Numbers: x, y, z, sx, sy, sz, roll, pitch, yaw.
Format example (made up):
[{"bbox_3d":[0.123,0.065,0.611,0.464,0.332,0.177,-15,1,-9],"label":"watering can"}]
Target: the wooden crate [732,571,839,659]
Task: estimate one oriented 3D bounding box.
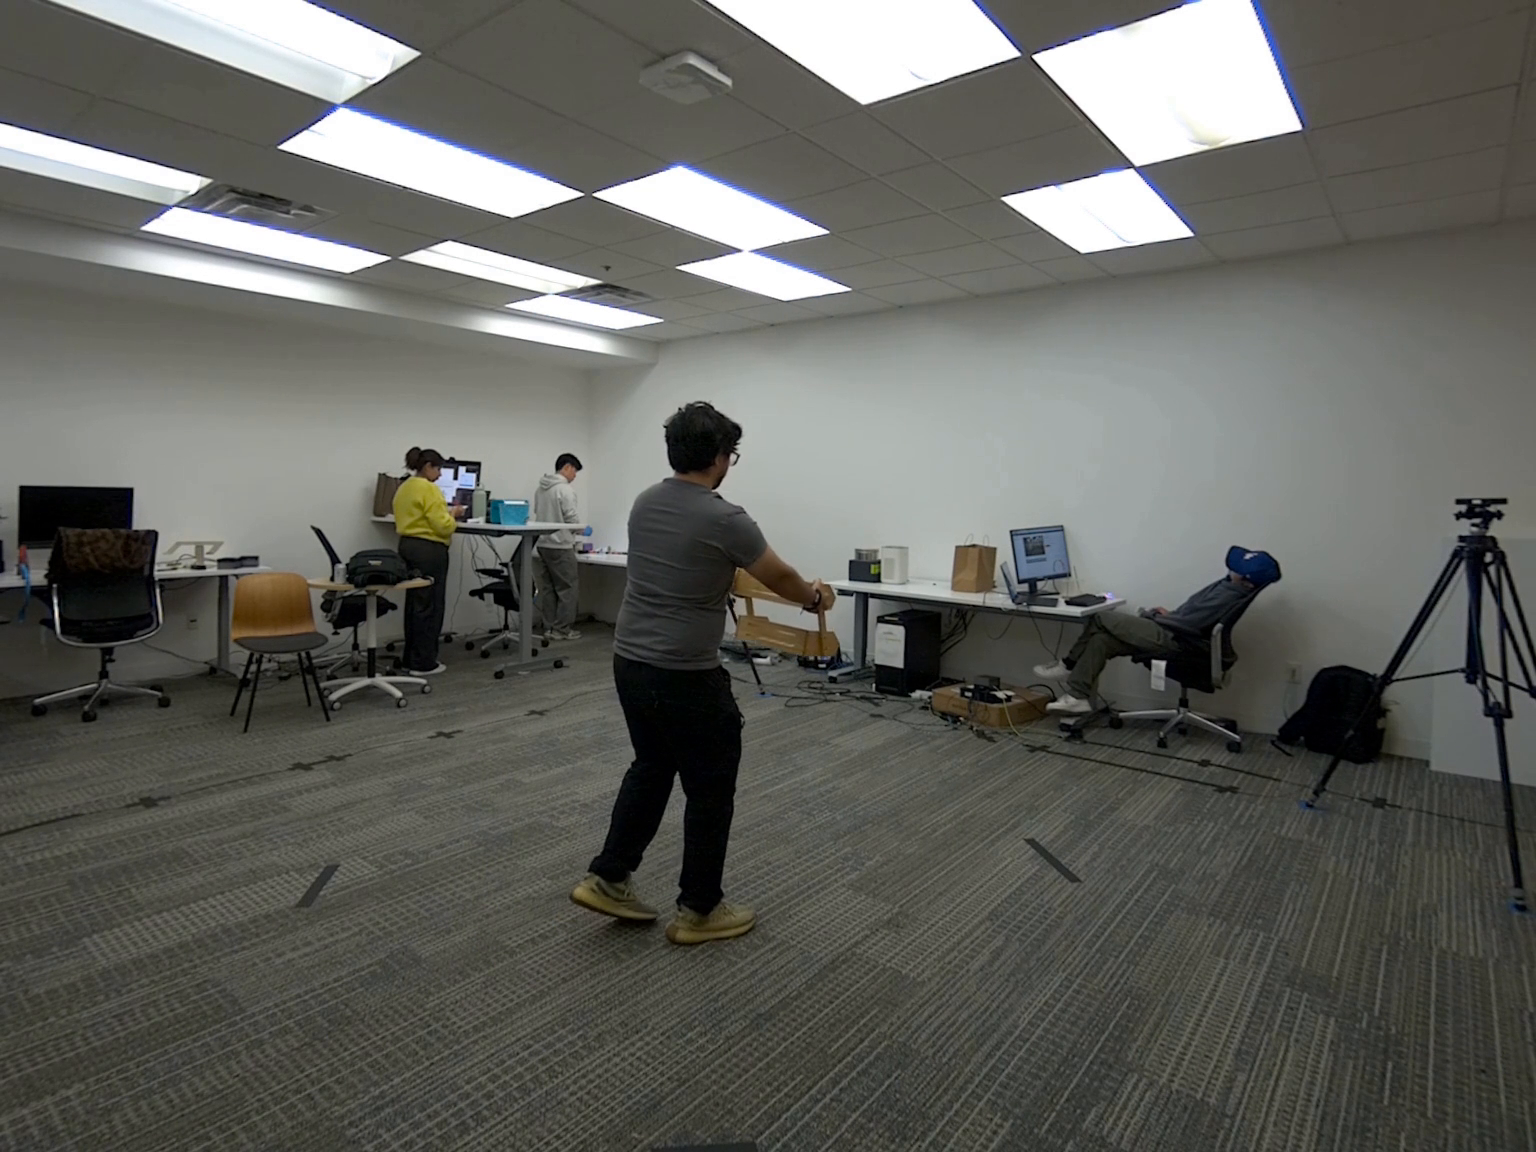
[{"bbox_3d":[0.064,0.135,3.106,0.335,0.273,0.292,10,2,34],"label":"wooden crate"}]
